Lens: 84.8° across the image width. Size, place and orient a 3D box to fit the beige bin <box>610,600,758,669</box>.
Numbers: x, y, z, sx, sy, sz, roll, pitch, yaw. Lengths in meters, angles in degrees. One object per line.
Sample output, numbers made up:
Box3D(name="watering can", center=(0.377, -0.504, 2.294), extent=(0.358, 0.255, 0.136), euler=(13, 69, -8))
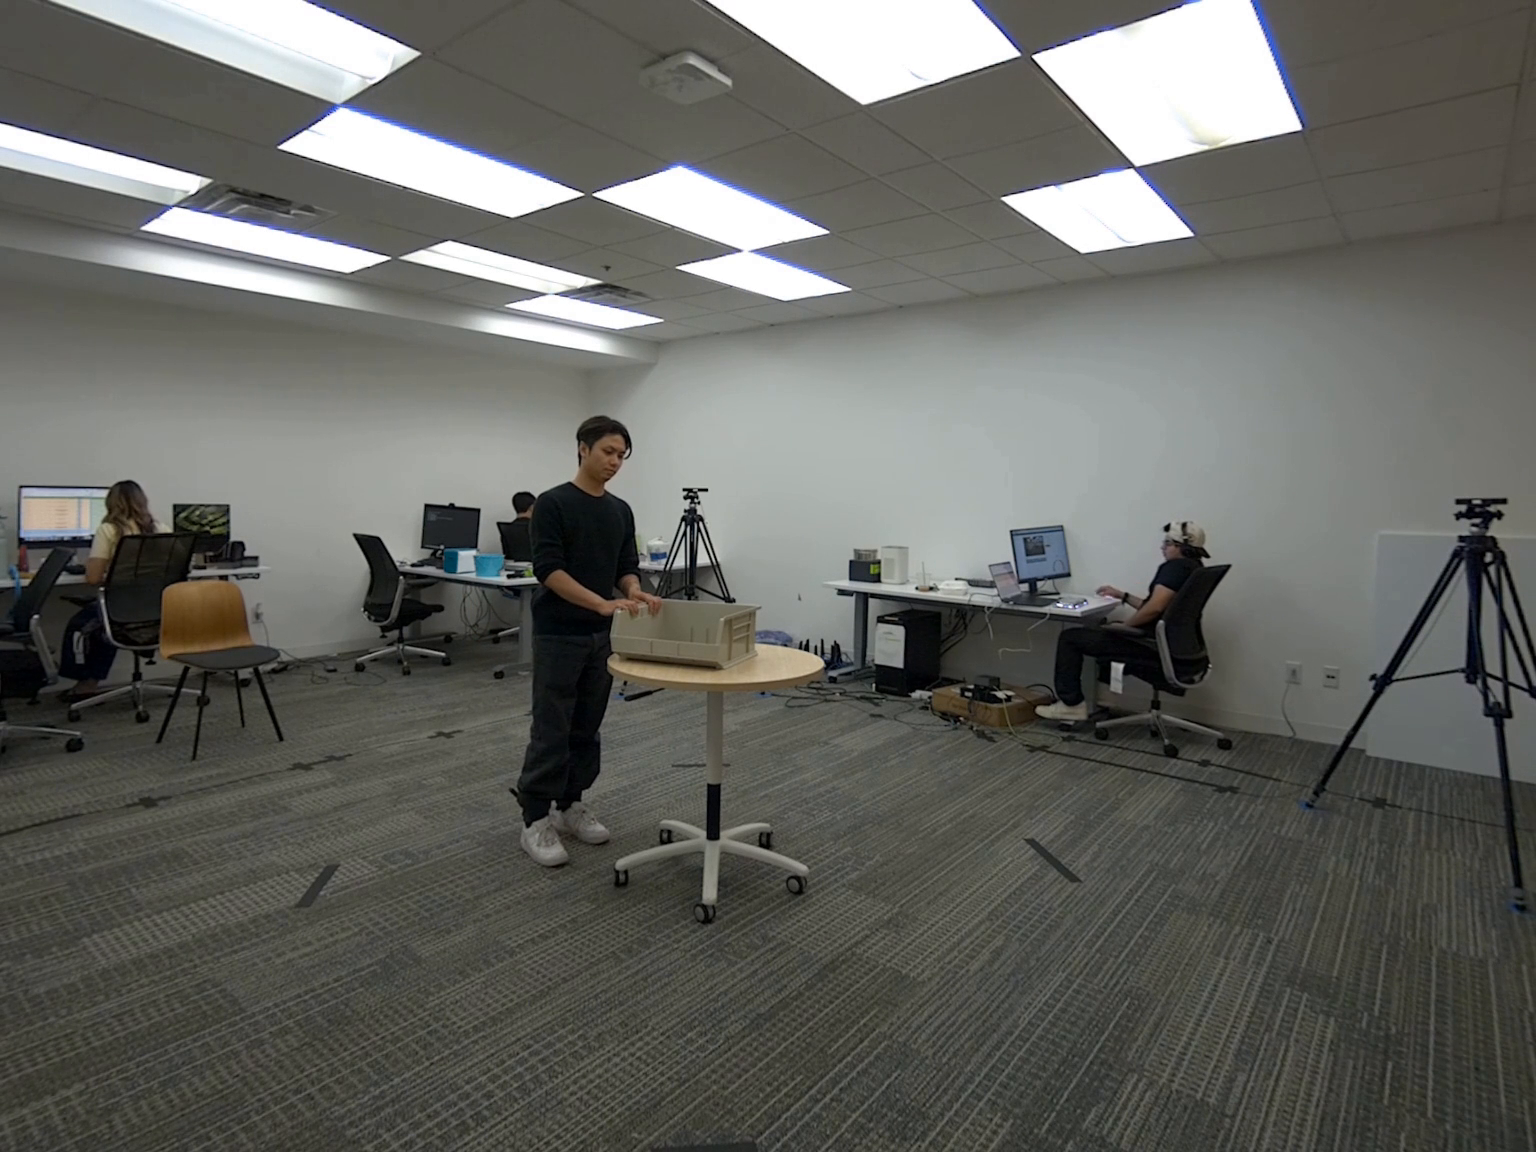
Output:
Box3D(name="beige bin", center=(-0.296, 0.199, 3.045), extent=(0.432, 0.189, 0.369), euler=(2, 3, 22))
